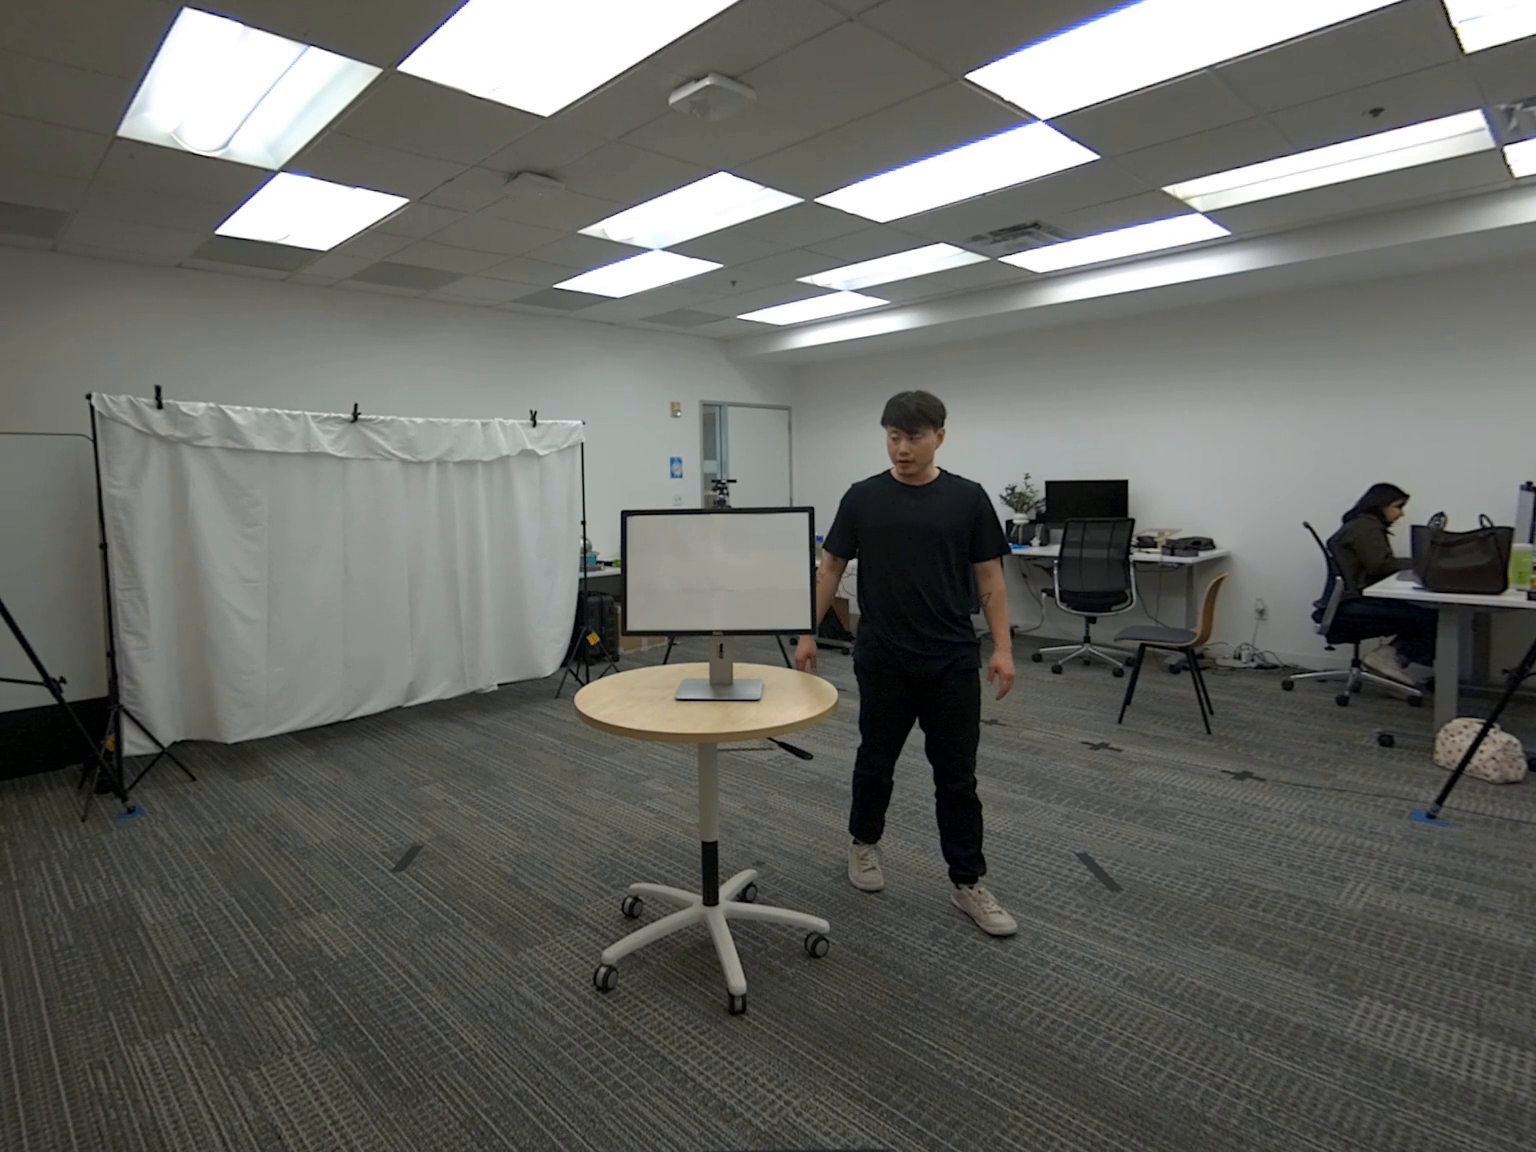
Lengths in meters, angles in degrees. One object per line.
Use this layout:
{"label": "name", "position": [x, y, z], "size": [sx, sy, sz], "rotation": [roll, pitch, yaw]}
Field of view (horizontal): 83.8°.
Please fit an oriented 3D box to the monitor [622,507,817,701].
{"label": "monitor", "position": [-0.140, 0.075, 2.485], "size": [0.540, 0.520, 0.187], "rotation": [-1, 5, 3]}
